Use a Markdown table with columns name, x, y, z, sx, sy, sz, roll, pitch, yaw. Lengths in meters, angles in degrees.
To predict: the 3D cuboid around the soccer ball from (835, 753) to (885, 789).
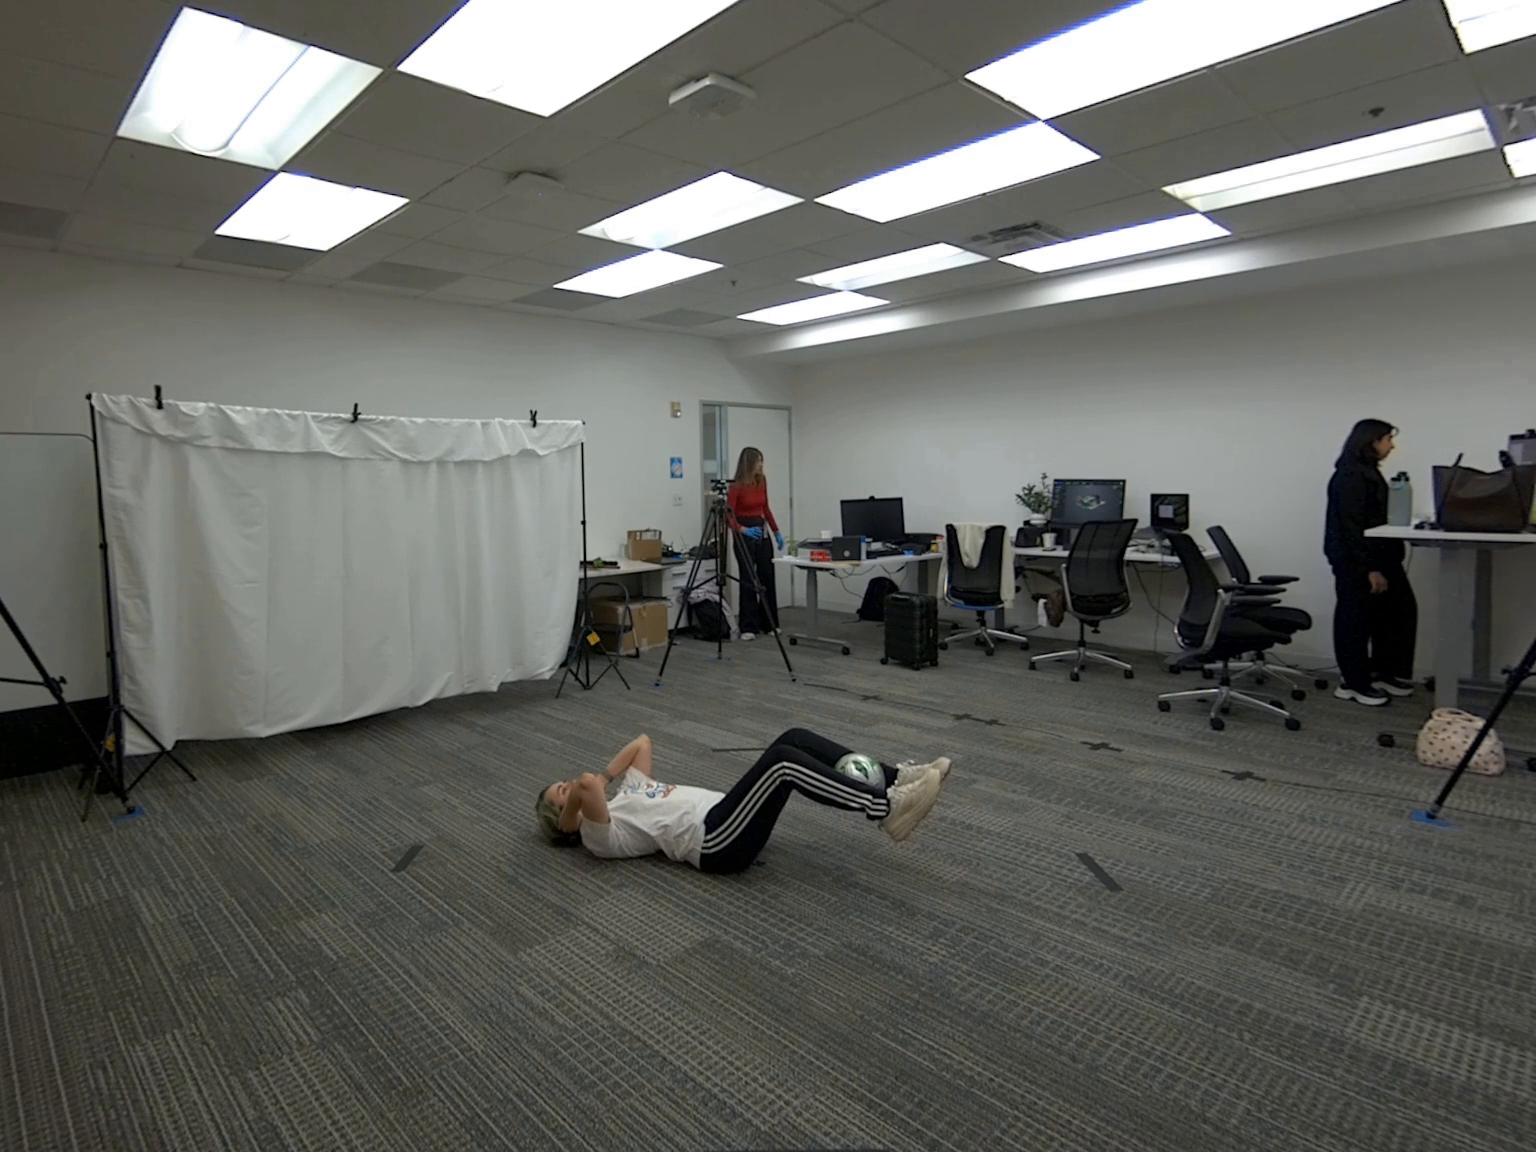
| name | x | y | z | sx | sy | sz | roll | pitch | yaw |
| --- | --- | --- | --- | --- | --- | --- | --- | --- | --- |
| soccer ball | 0.316 | 0.726 | 3.035 | 0.187 | 0.187 | 0.188 | -1 | 5 | -2 |
